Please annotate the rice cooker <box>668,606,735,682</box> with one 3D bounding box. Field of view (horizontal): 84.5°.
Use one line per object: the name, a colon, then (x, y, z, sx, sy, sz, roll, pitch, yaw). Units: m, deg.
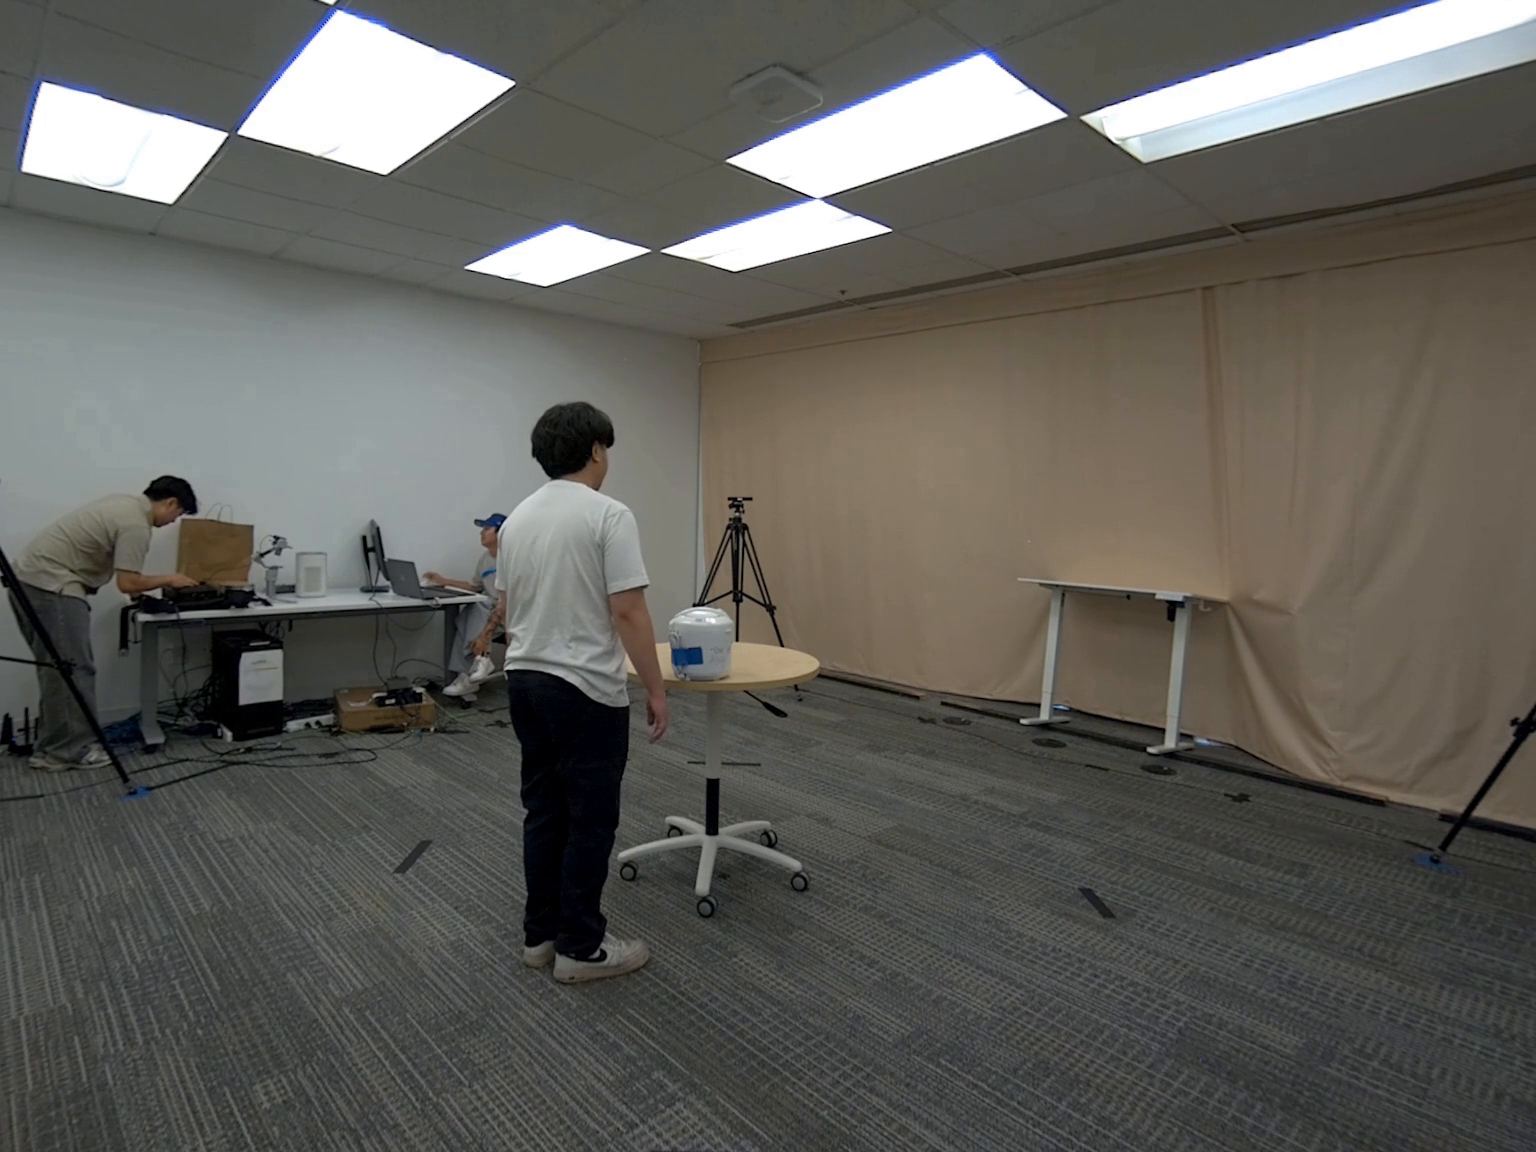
rice cooker: (-0.228, 0.220, 2.816, 0.220, 0.232, 0.219, 1, 5, -5)
